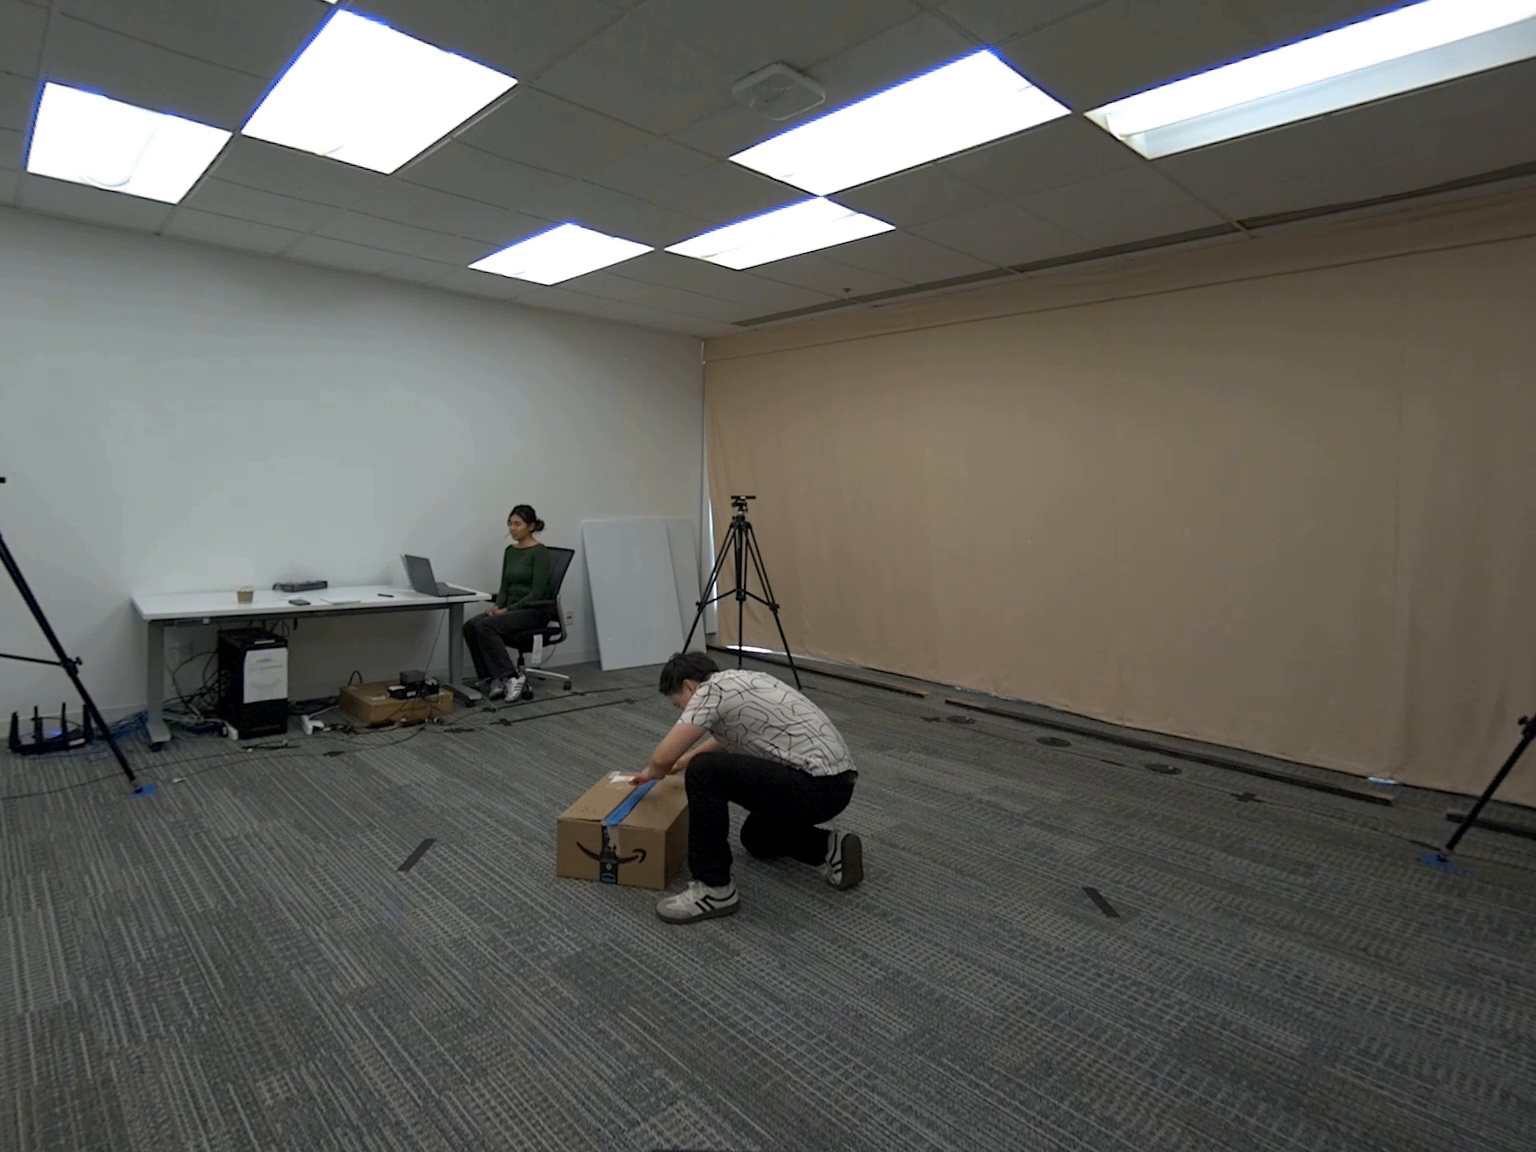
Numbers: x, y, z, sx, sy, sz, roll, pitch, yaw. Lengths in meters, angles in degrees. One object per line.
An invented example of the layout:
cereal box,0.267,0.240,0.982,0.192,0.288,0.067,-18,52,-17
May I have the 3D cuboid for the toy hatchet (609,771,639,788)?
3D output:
toy hatchet,-0.459,0.804,3.311,0.132,0.030,0.265,-19,-9,22
